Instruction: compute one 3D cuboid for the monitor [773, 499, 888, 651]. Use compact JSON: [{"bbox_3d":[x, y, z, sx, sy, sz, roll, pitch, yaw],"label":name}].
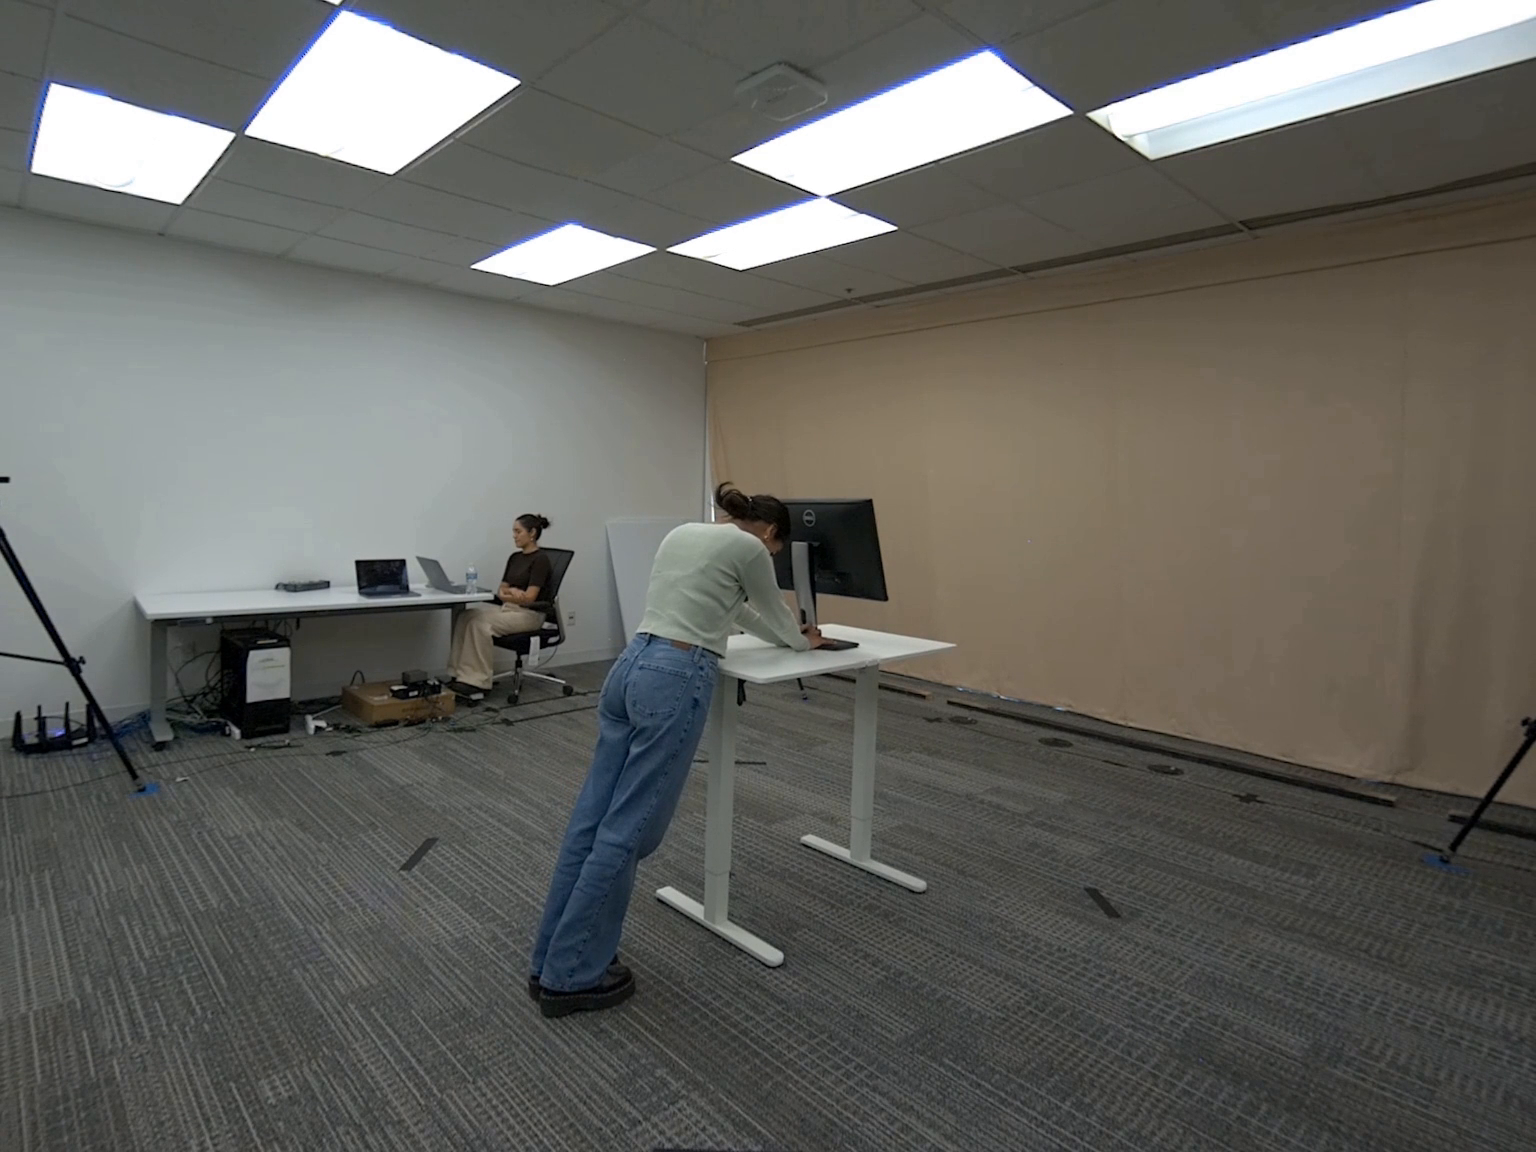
[{"bbox_3d":[0.162,-0.010,2.955,0.183,0.521,0.553,-4,6,-42],"label":"monitor"}]
